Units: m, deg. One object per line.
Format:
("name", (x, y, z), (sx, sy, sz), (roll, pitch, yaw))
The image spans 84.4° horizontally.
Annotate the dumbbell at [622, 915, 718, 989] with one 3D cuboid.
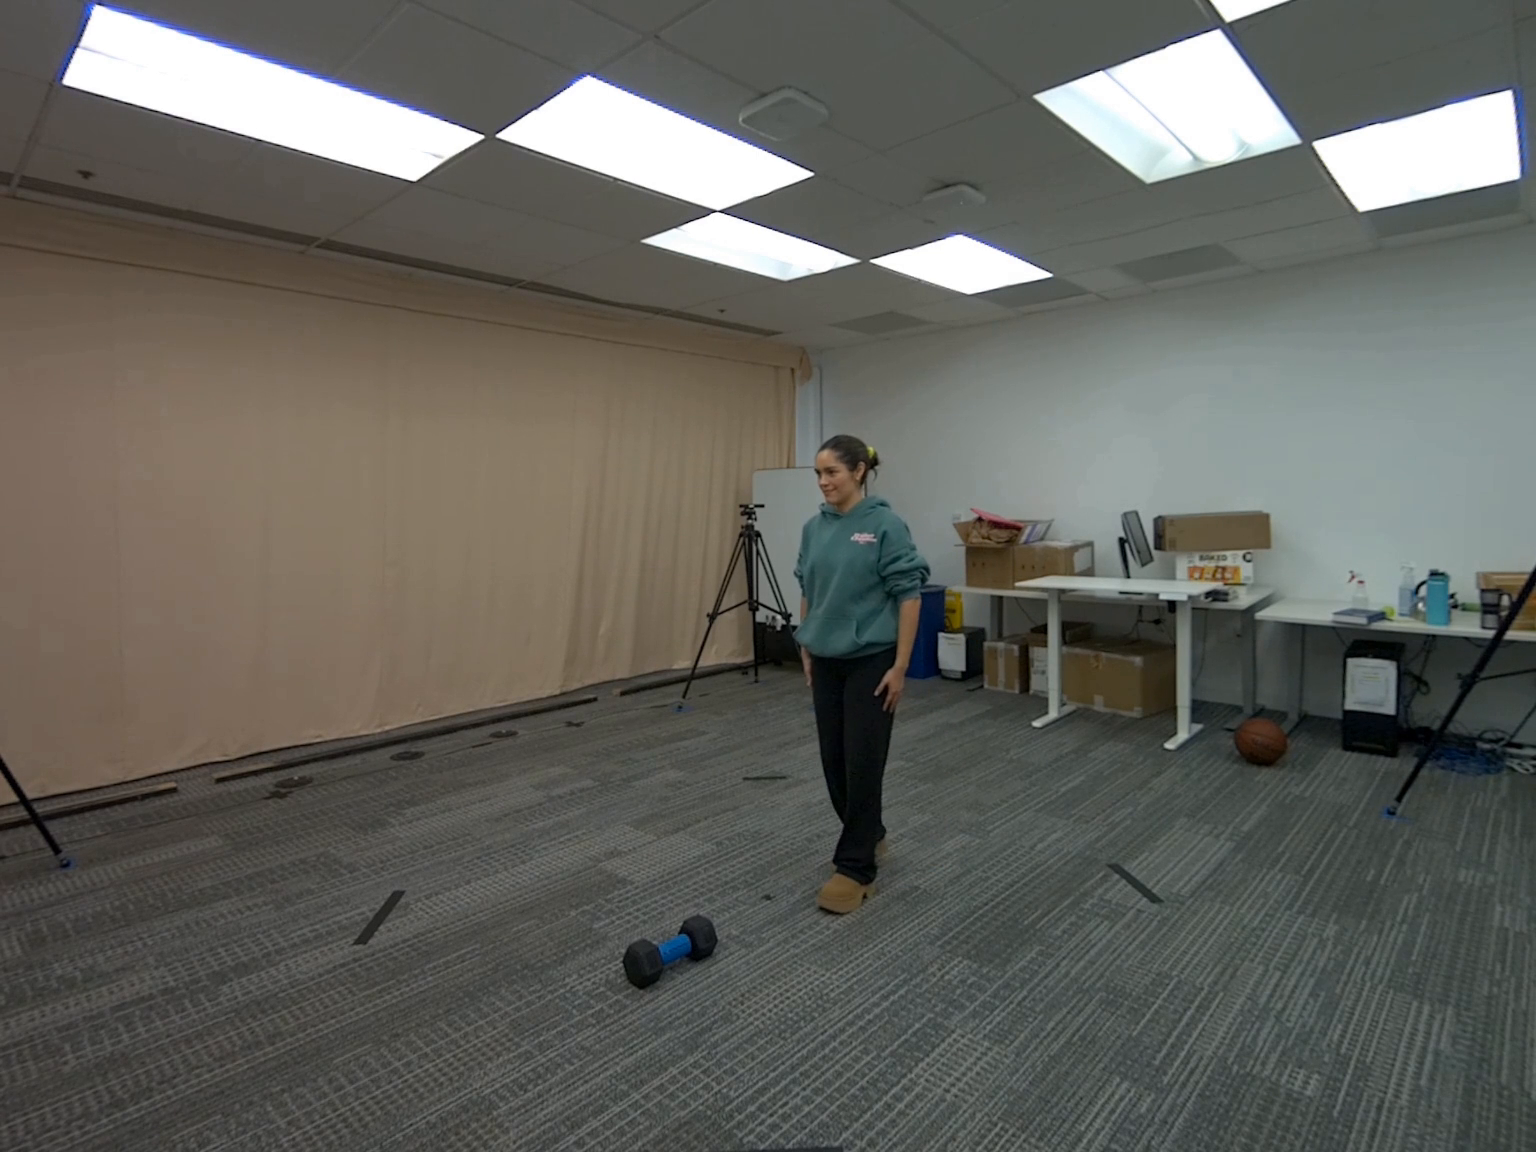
("dumbbell", (-0.291, 1.131, 2.533), (0.285, 0.122, 0.112), (-5, 35, -43))
